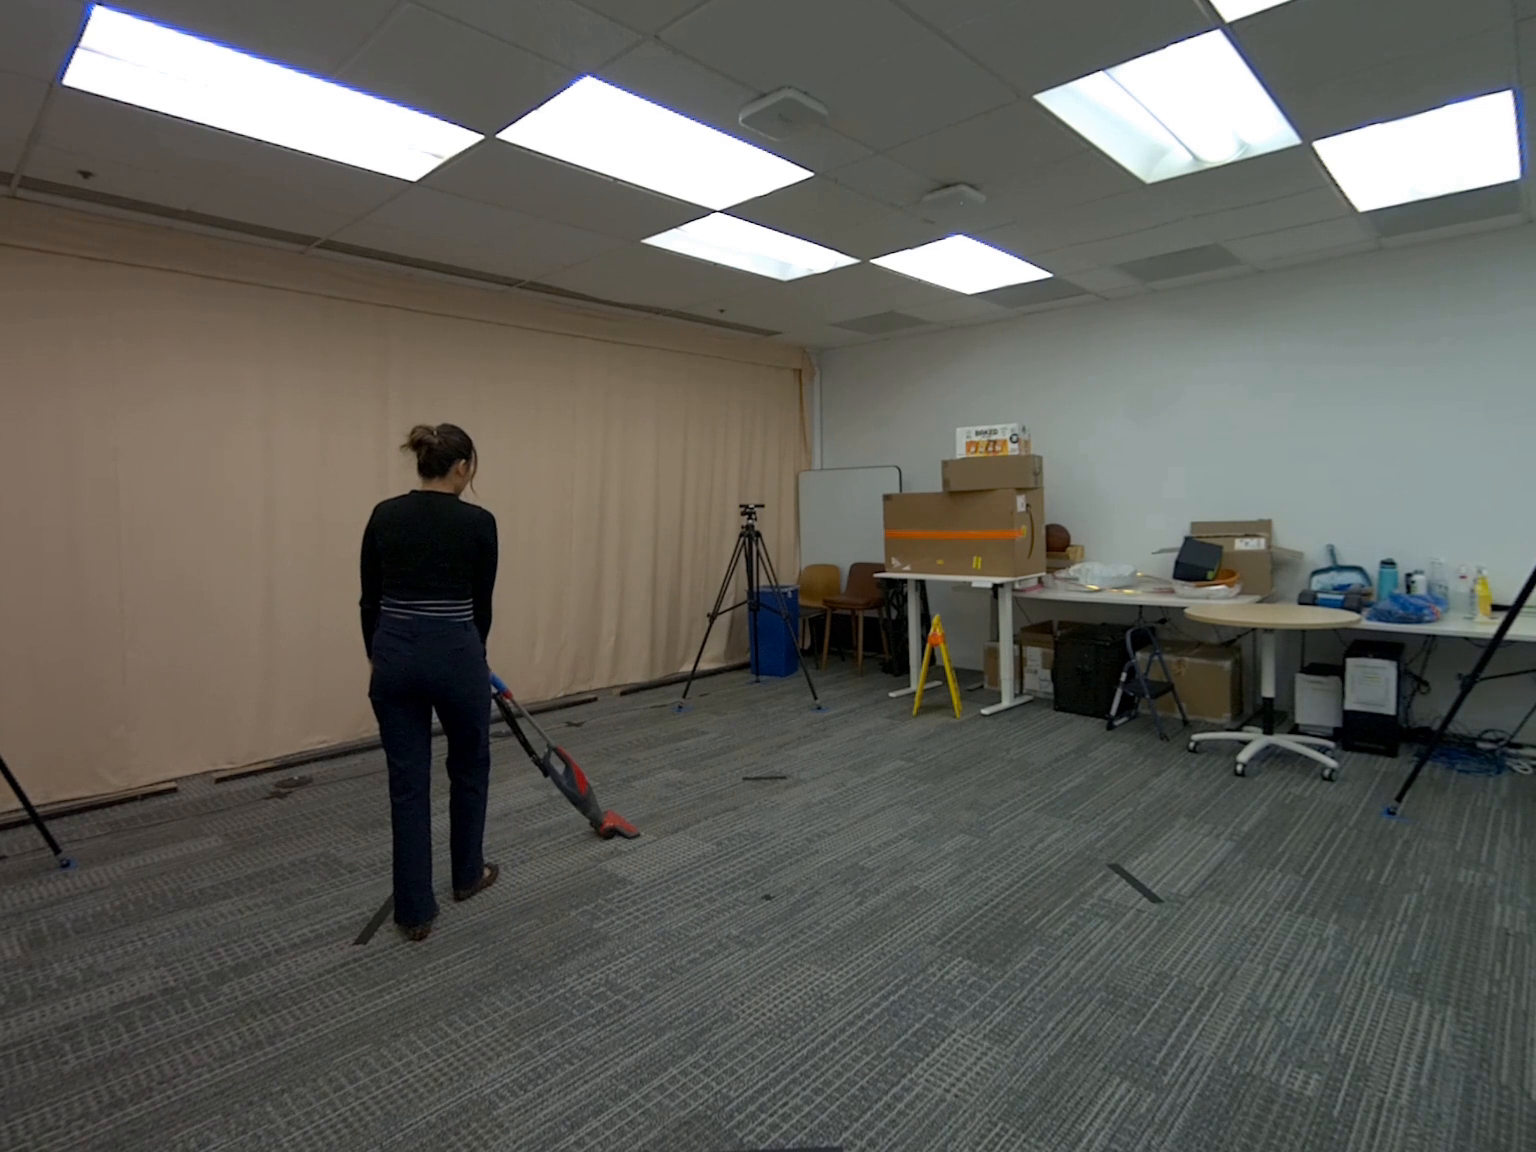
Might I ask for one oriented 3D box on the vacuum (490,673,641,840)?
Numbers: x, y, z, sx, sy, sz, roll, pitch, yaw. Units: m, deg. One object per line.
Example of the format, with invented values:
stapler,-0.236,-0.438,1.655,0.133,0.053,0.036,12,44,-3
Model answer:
vacuum,-0.884,0.712,3.364,0.261,1.020,0.143,3,44,44
